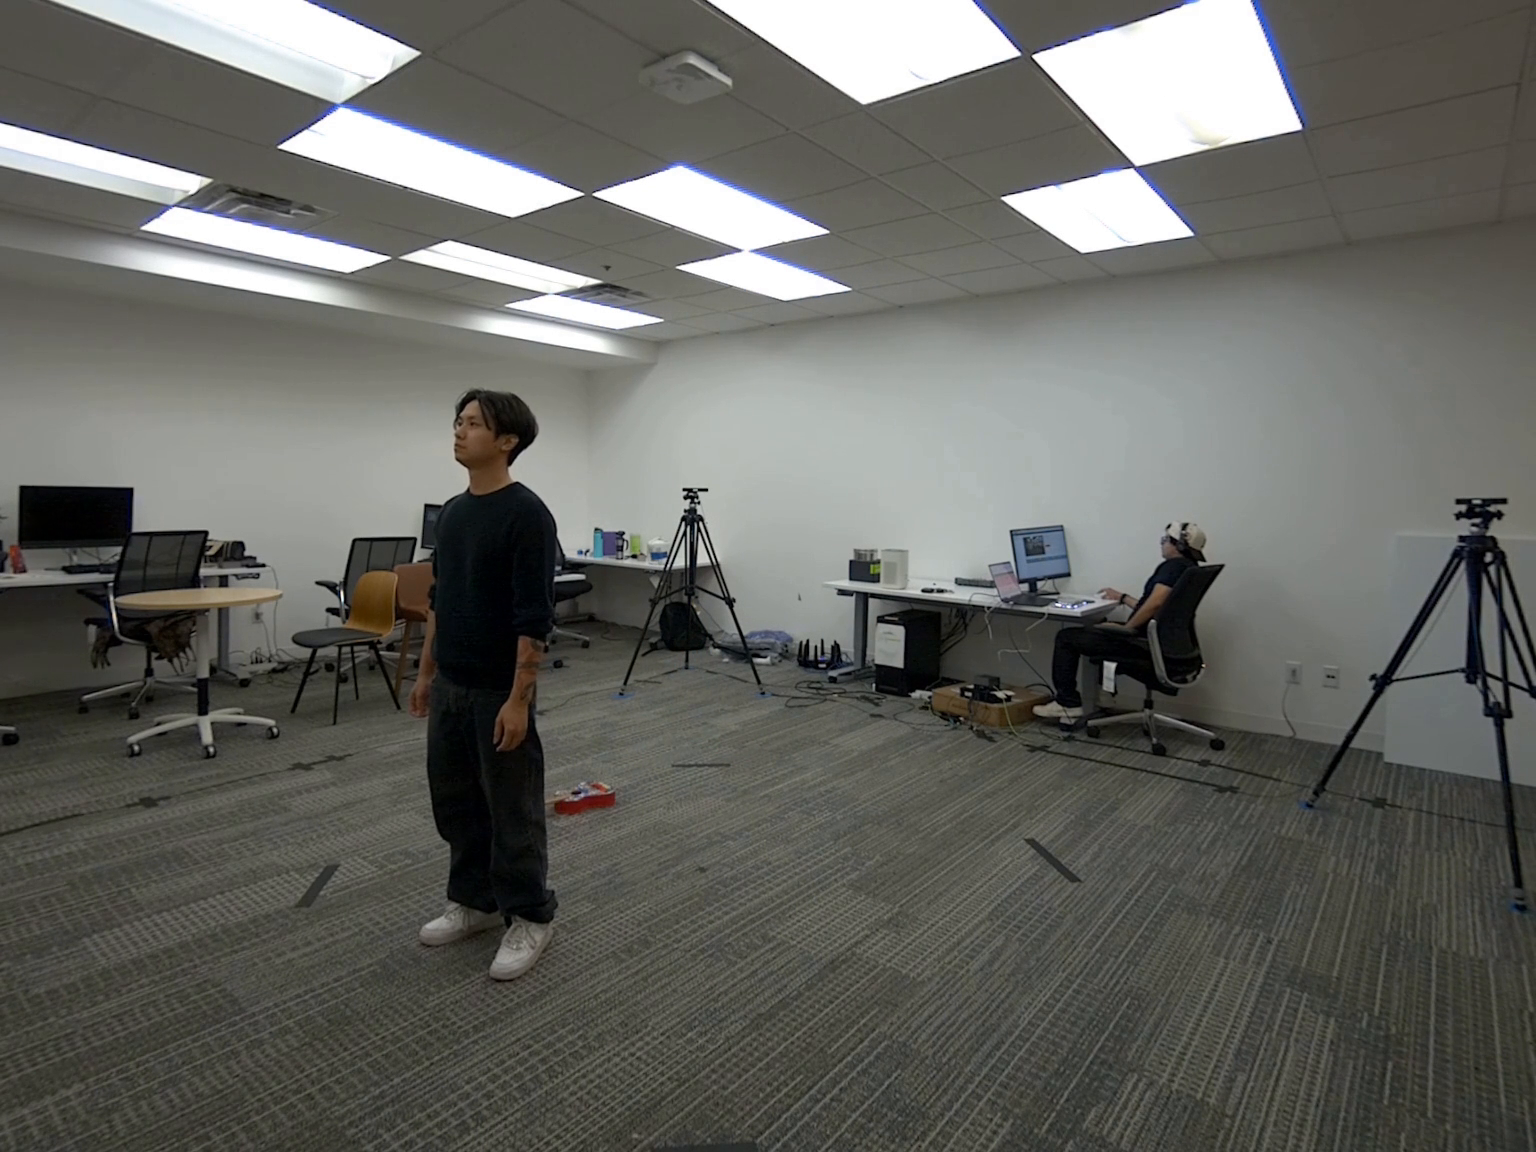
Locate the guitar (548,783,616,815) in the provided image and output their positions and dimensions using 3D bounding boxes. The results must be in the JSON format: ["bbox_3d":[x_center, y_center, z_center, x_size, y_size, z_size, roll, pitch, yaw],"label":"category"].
[{"bbox_3d":[-0.921,0.972,3.680,0.483,0.070,0.199,-3,7,-36],"label":"guitar"}]
